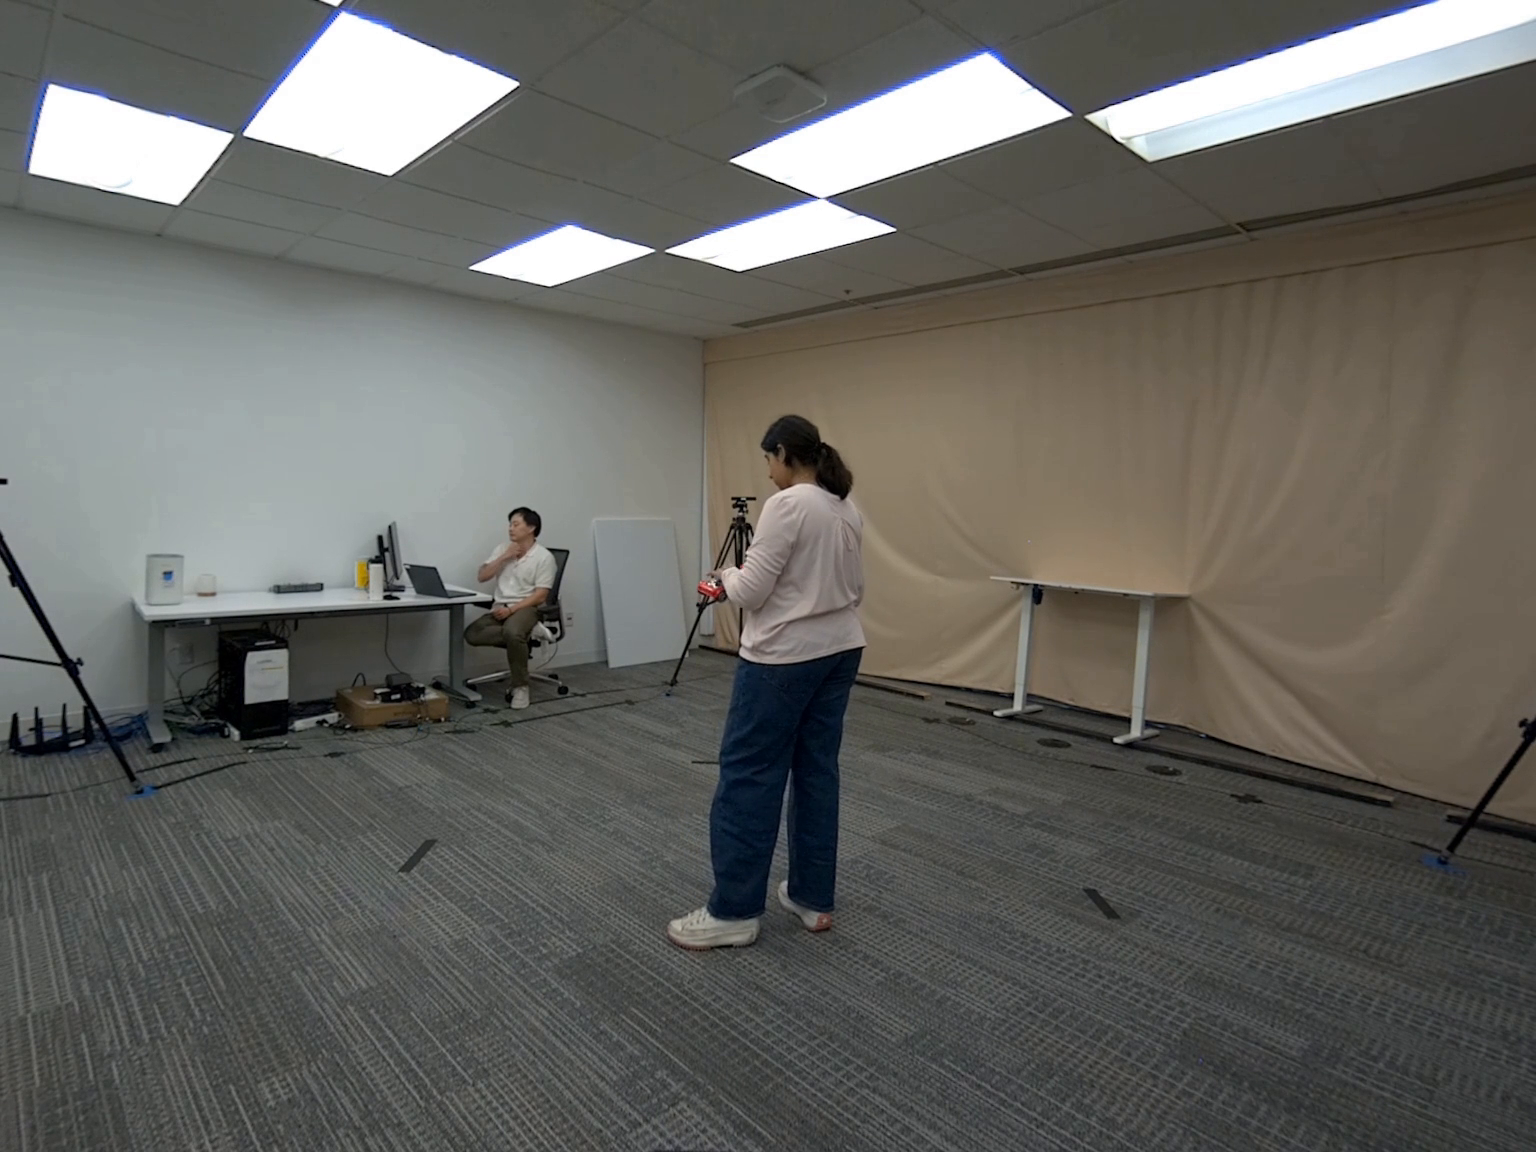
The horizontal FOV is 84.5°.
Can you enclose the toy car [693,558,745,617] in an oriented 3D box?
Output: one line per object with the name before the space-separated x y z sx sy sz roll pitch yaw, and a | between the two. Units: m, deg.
toy car | -0.119 0.033 2.955 0.134 0.082 0.252 18 35 42
